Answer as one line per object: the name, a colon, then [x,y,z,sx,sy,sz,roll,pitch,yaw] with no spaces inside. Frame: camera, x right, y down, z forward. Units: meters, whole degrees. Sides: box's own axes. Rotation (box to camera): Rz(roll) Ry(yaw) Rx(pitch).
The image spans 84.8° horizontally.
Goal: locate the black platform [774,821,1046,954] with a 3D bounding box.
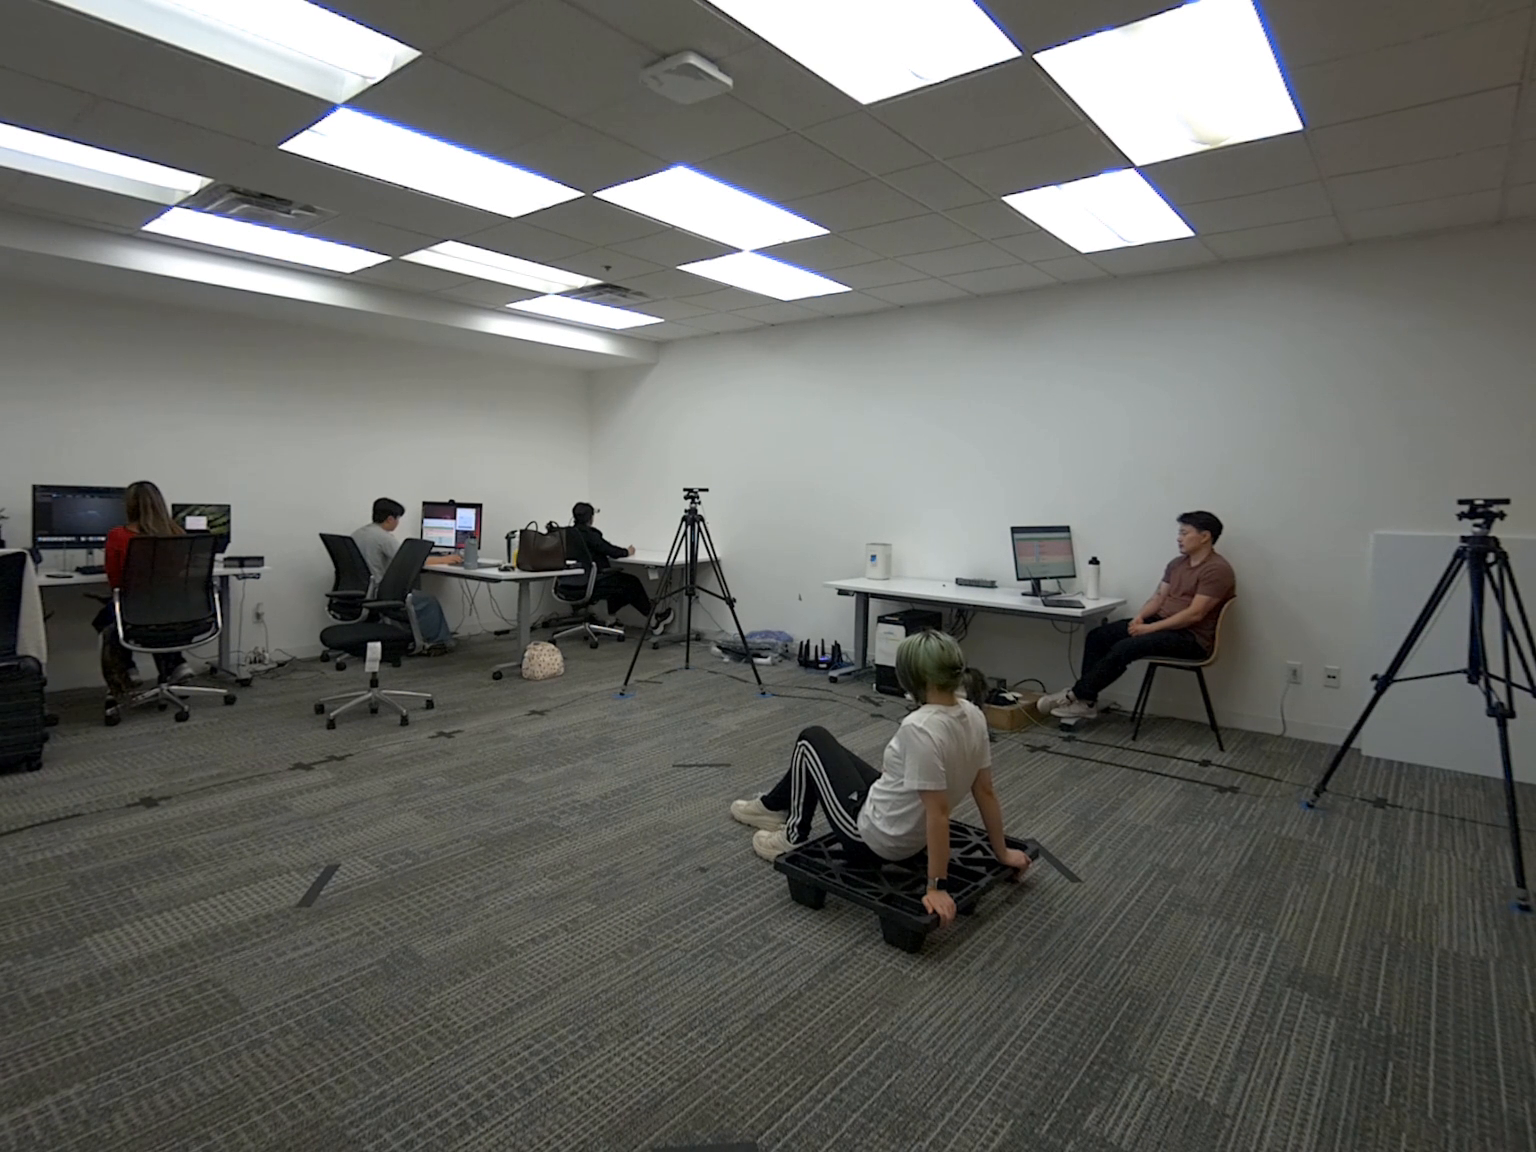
black platform: [0.483,1.027,2.982,0.626,0.143,0.781,5,6,43]
